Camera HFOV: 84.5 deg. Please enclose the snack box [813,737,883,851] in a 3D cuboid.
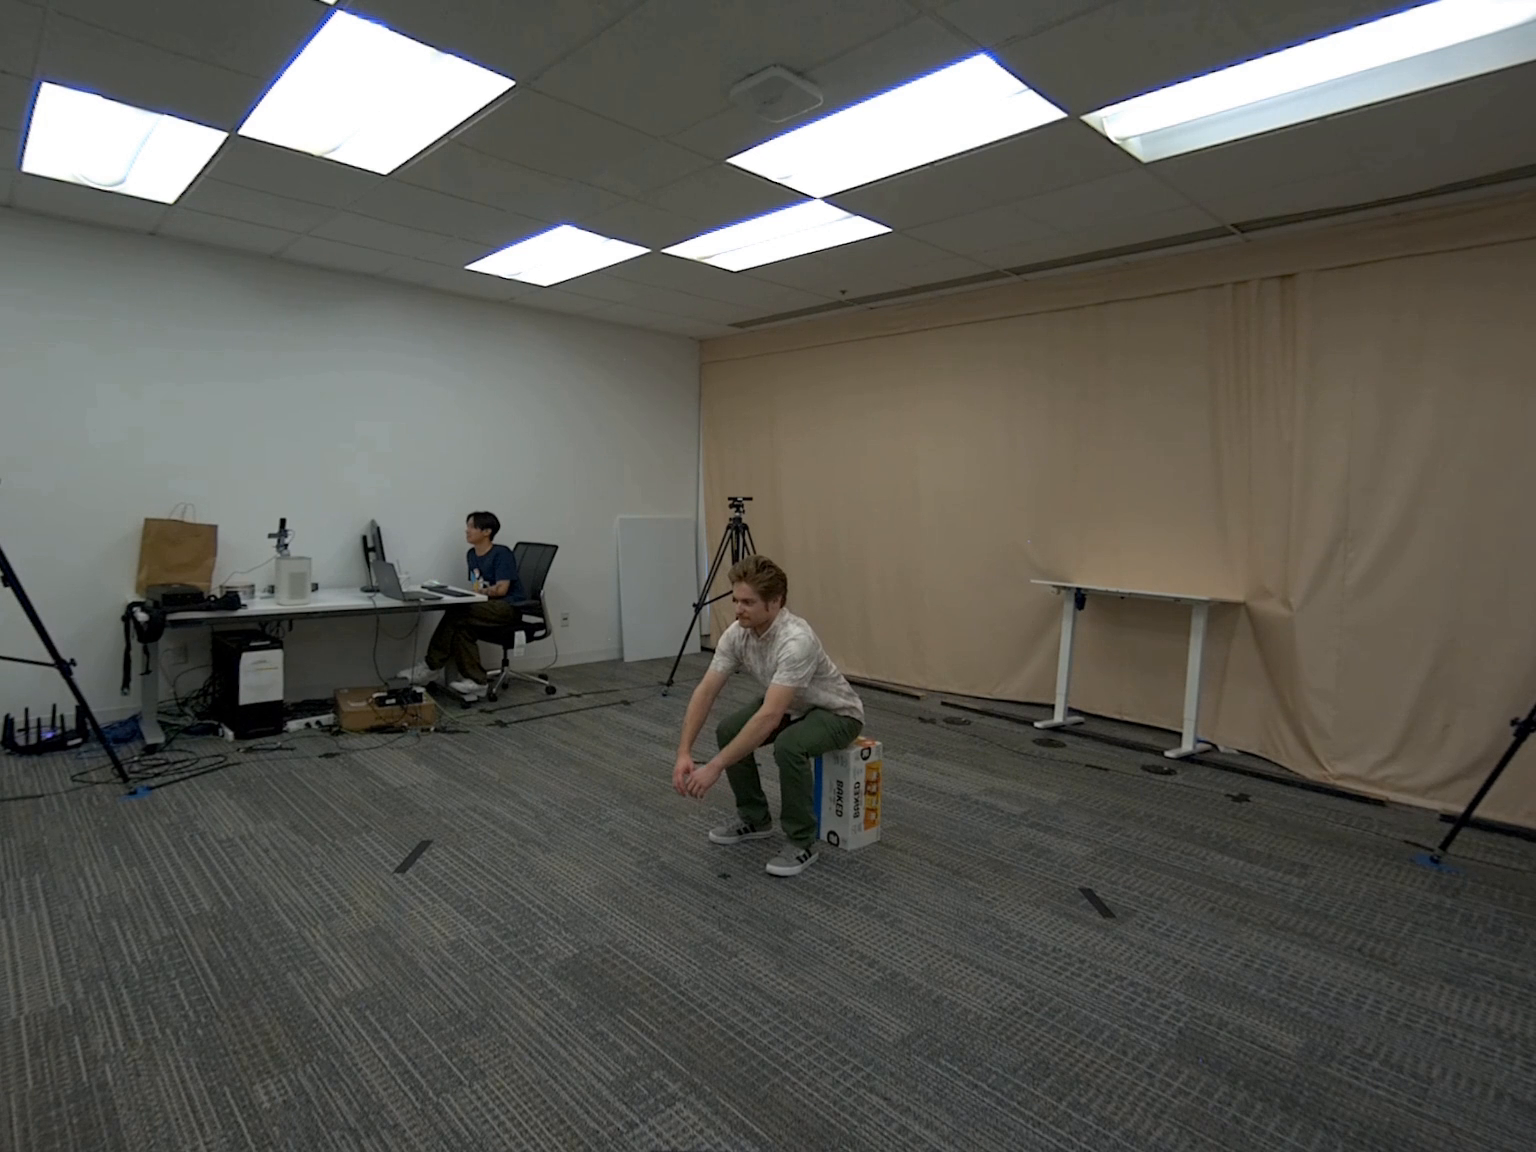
[{"bbox_3d":[0.274,0.880,3.536,0.201,0.404,0.349,-2,5,-41],"label":"snack box"}]
